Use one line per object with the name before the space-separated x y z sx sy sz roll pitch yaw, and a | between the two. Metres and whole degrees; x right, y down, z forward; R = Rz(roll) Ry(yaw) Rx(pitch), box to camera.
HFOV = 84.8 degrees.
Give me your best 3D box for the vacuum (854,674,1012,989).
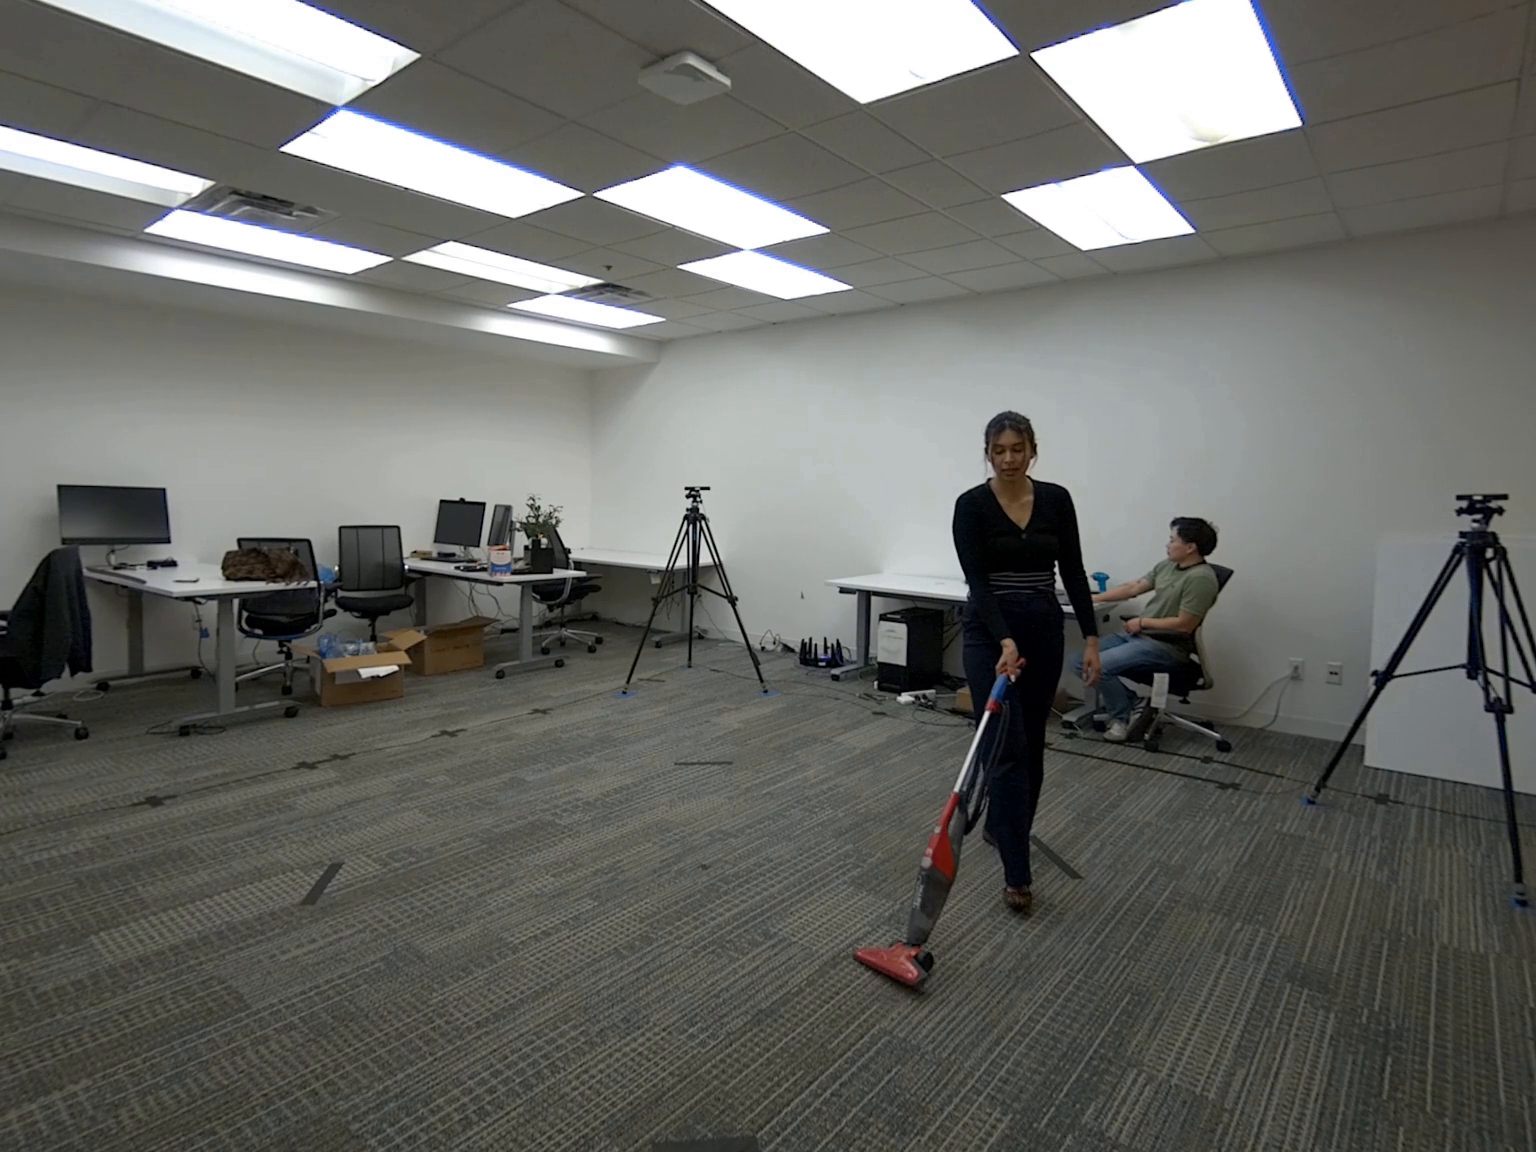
vacuum | 0.609 0.714 2.676 0.261 1.056 0.138 5 -34 43
